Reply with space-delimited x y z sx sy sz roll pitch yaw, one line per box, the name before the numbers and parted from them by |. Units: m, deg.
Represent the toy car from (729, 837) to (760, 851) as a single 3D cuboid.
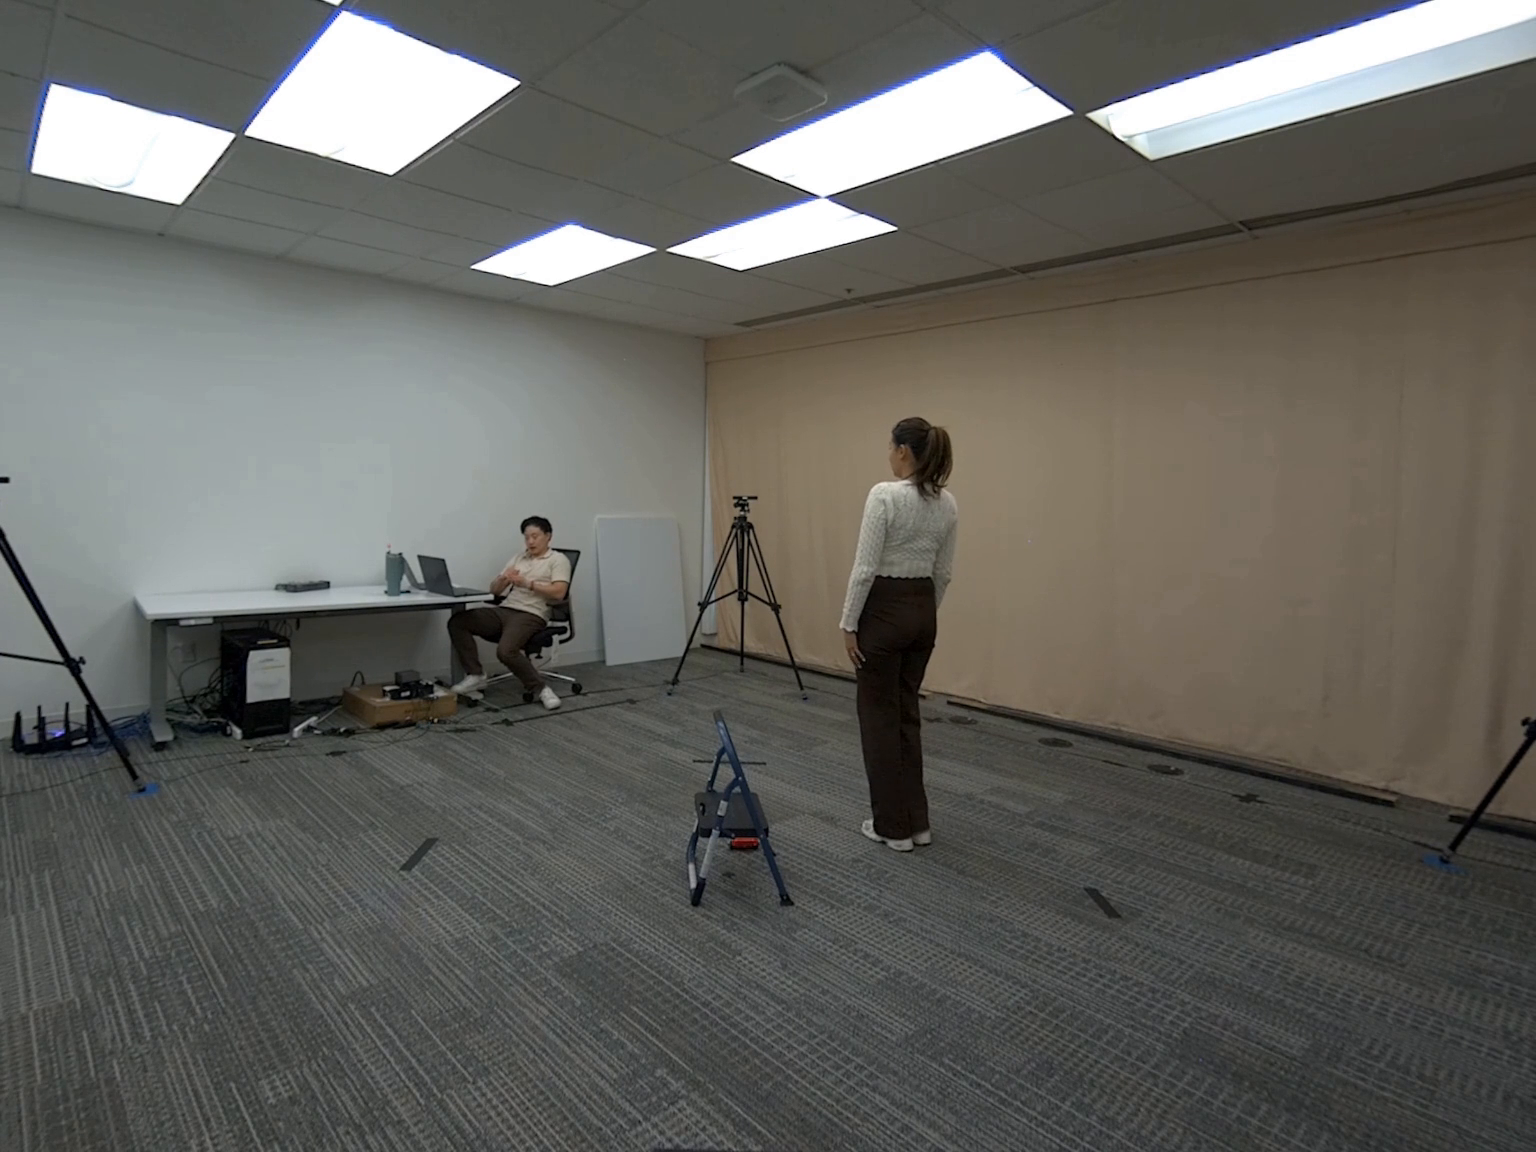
toy car | -0.117 1.044 3.437 0.129 0.082 0.258 2 15 -7
